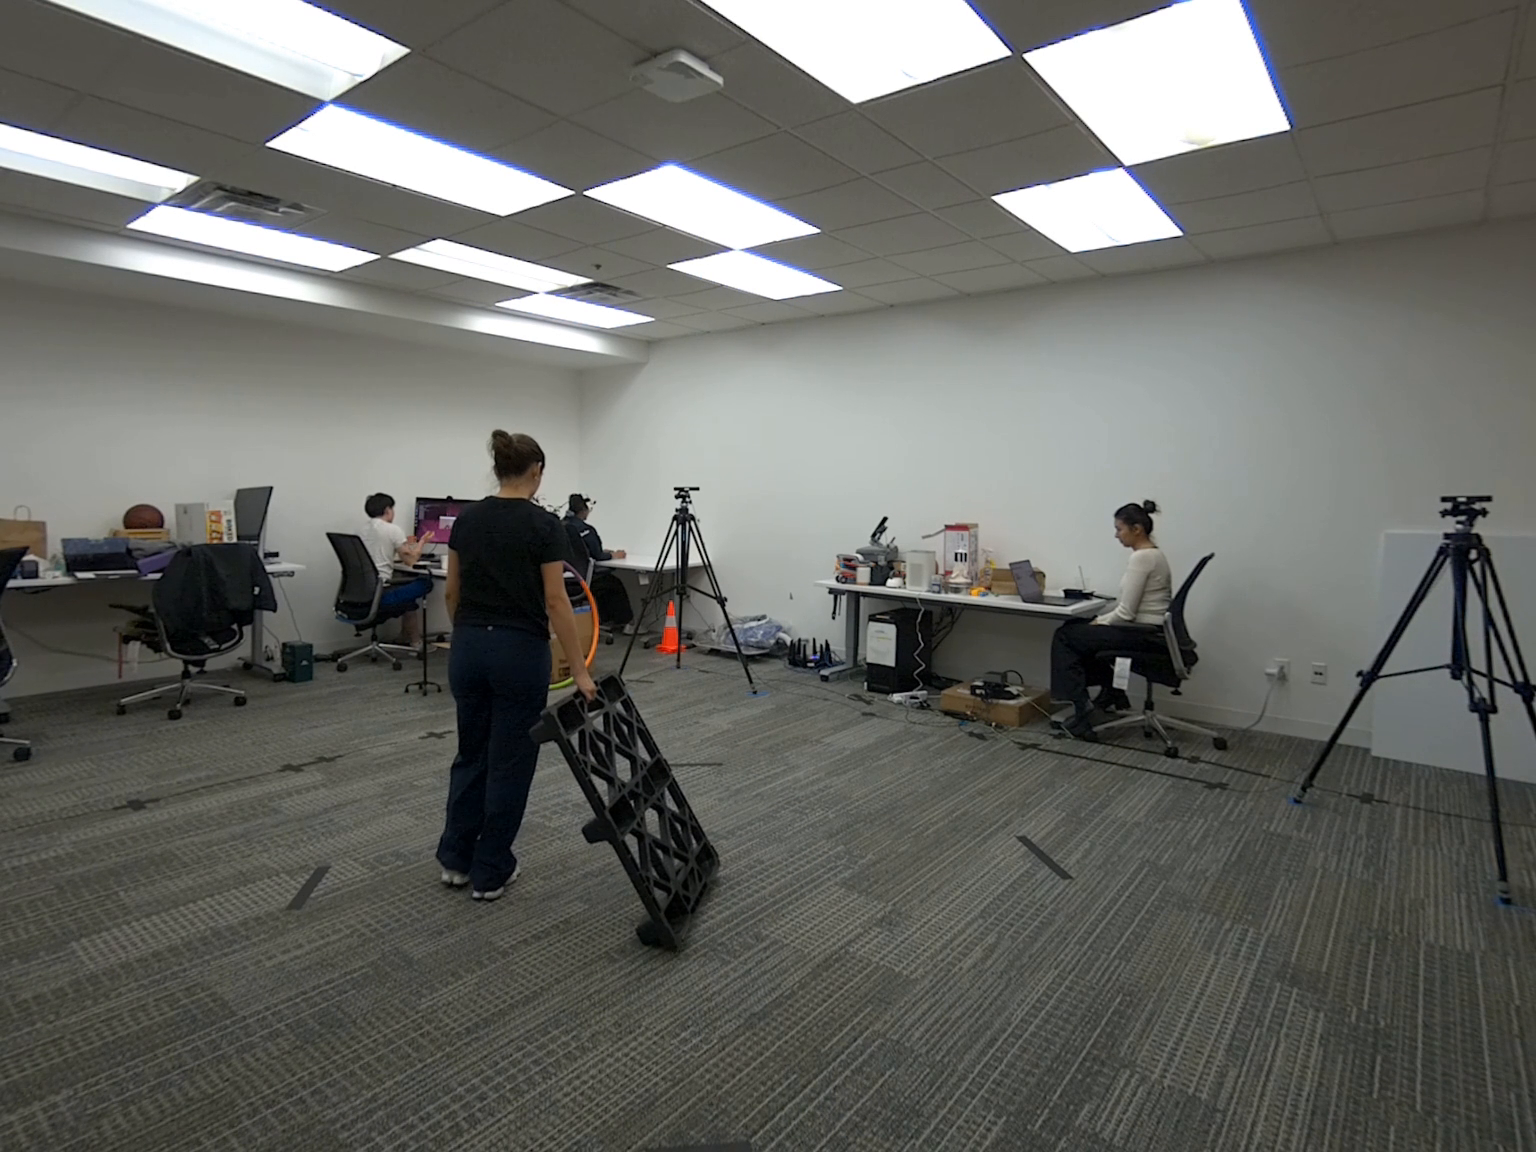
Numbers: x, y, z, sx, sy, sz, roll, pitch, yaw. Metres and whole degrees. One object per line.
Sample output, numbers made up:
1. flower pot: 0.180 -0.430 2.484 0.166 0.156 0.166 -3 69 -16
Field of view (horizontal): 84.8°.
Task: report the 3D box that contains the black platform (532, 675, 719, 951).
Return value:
1. black platform: -0.455 0.739 2.832 0.144 0.811 0.598 -30 -4 12
